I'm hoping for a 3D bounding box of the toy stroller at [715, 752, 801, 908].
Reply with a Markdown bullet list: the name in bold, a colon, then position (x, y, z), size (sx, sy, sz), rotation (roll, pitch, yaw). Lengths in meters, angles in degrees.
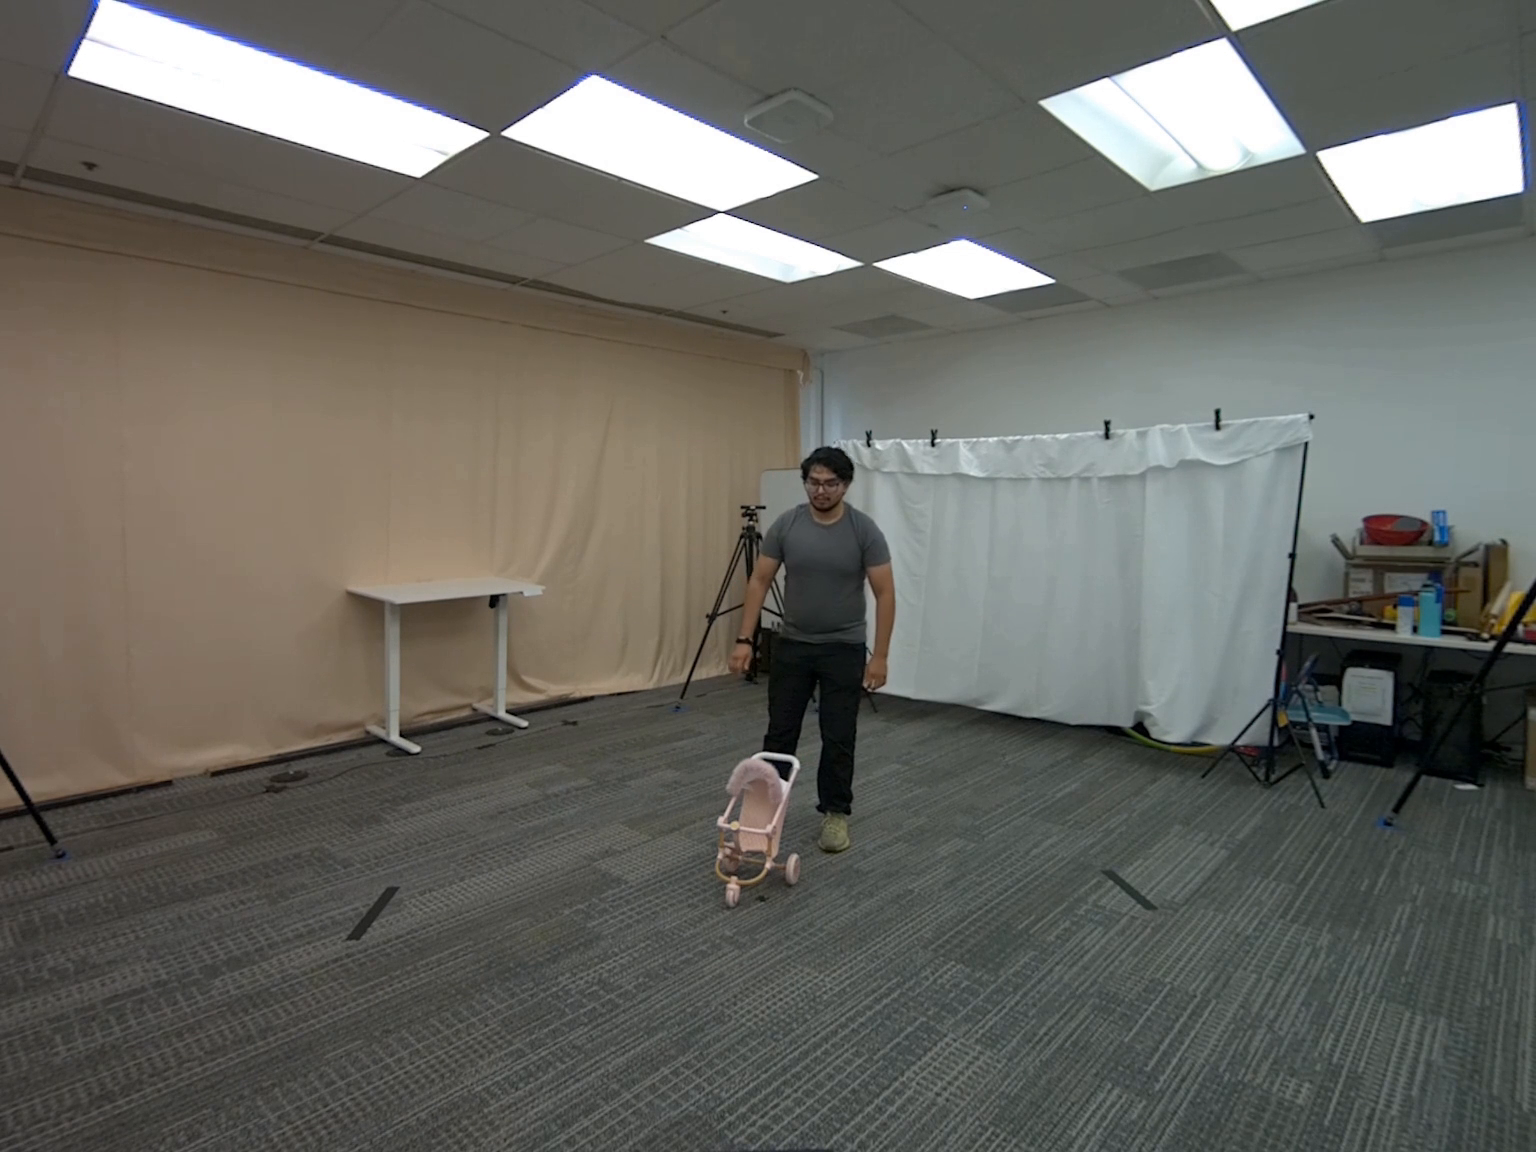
- **toy stroller**: position (-0.050, 0.911, 3.085), size (0.289, 0.538, 0.330), rotation (1, -14, 29)
